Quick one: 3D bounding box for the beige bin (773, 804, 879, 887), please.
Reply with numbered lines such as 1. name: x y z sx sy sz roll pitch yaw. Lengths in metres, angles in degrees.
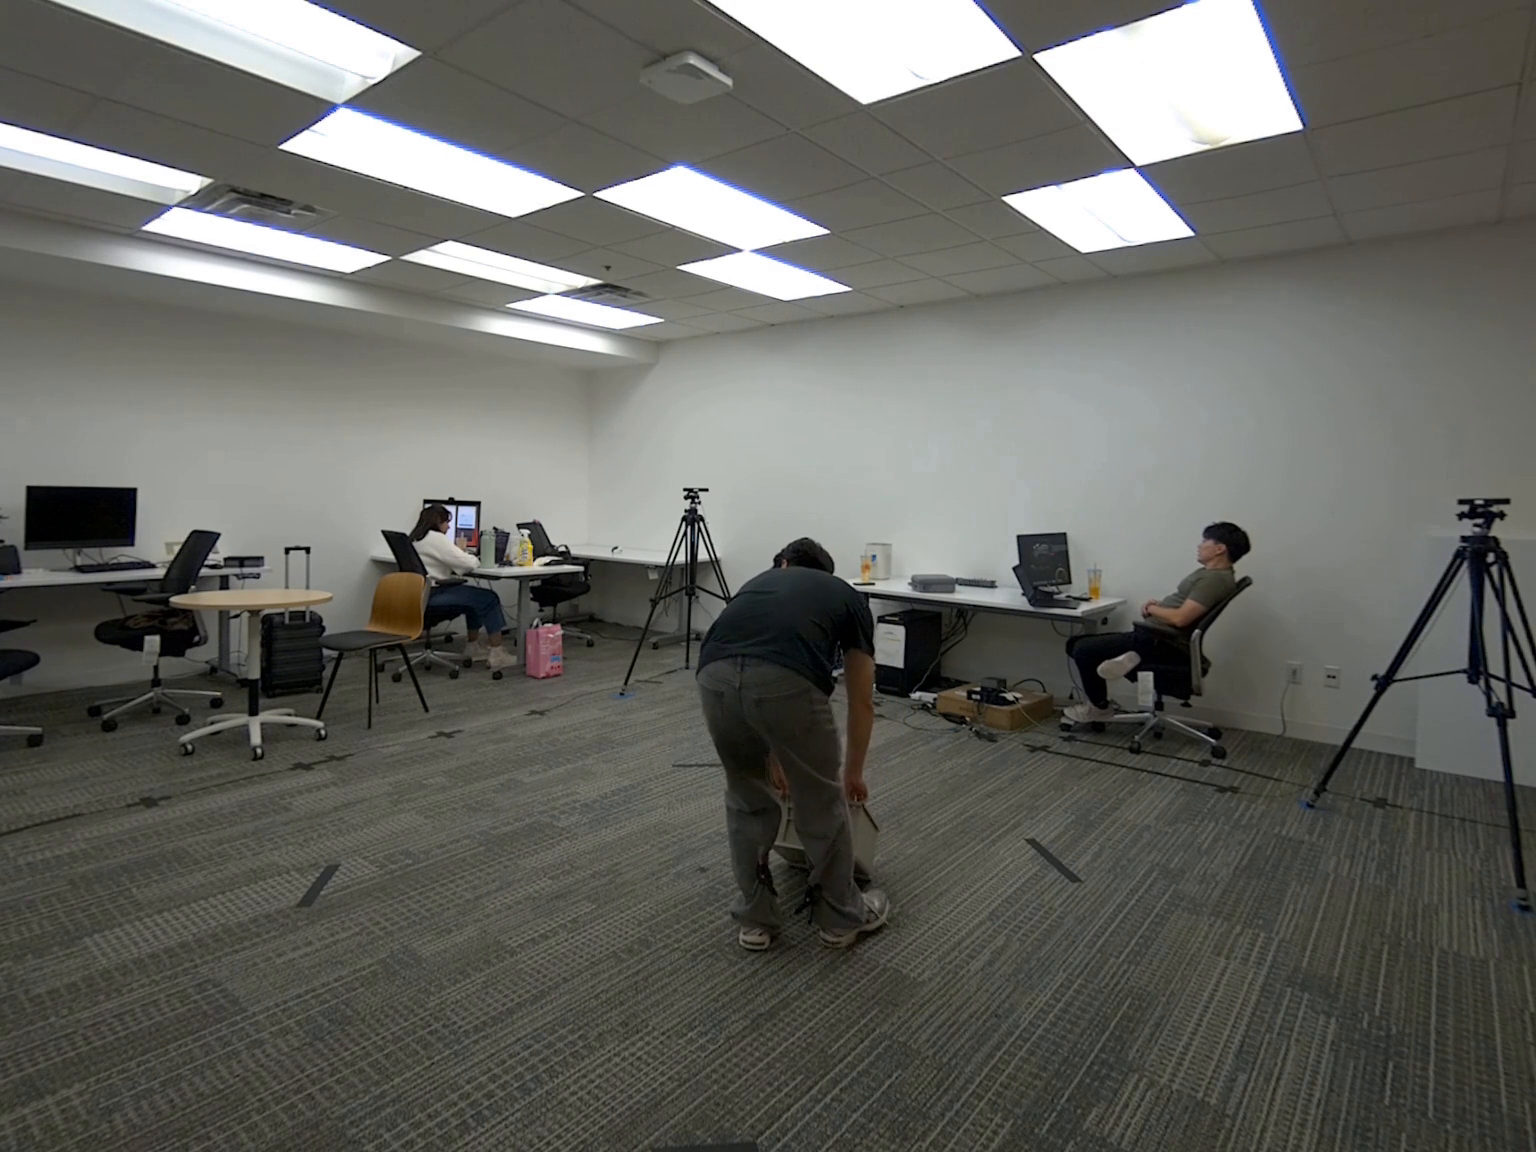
1. beige bin: 0.165 0.906 2.987 0.385 0.192 0.406 4 -27 19
